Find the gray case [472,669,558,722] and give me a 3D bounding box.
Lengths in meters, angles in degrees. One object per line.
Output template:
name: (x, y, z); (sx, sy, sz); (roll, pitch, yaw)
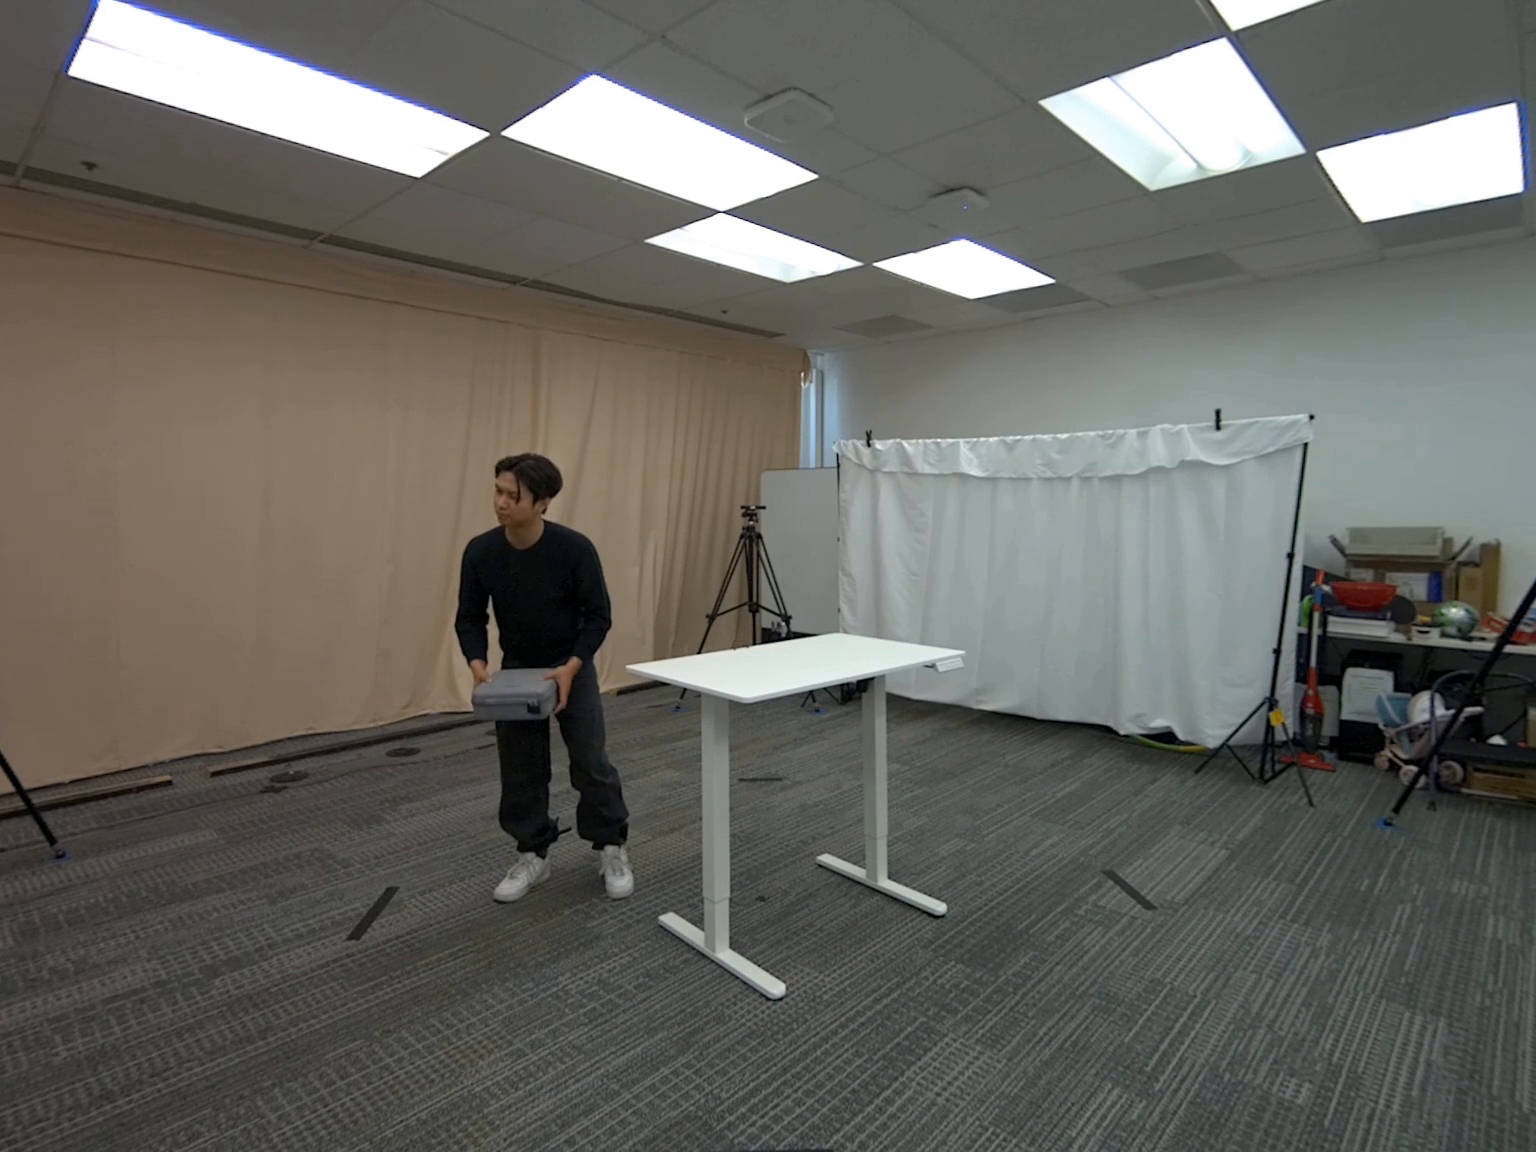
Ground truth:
gray case: (-0.829, 0.397, 2.825); (0.258, 0.103, 0.261); (-3, 10, 3)
